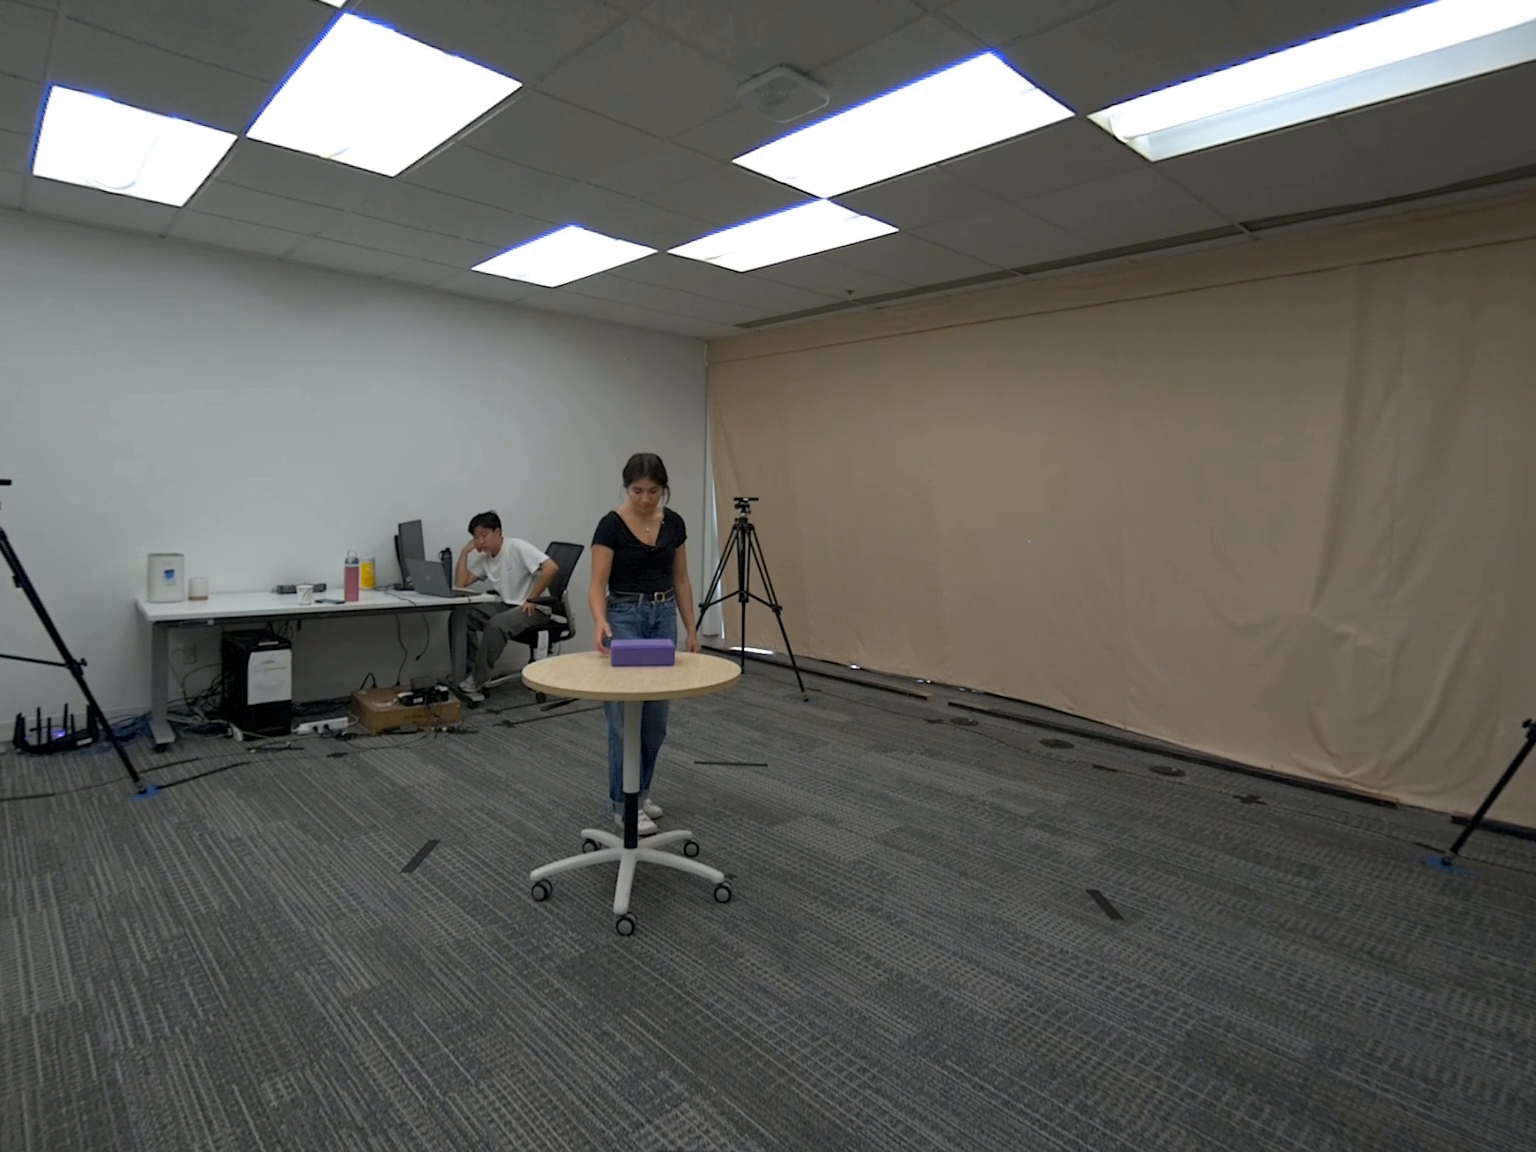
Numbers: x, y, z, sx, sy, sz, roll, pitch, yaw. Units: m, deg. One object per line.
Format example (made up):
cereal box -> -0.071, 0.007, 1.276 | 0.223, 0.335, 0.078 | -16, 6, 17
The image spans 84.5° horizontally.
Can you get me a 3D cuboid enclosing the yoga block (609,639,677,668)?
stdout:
yoga block -> -0.475, 0.285, 3.080 | 0.228, 0.076, 0.150 | 0, 5, -9
